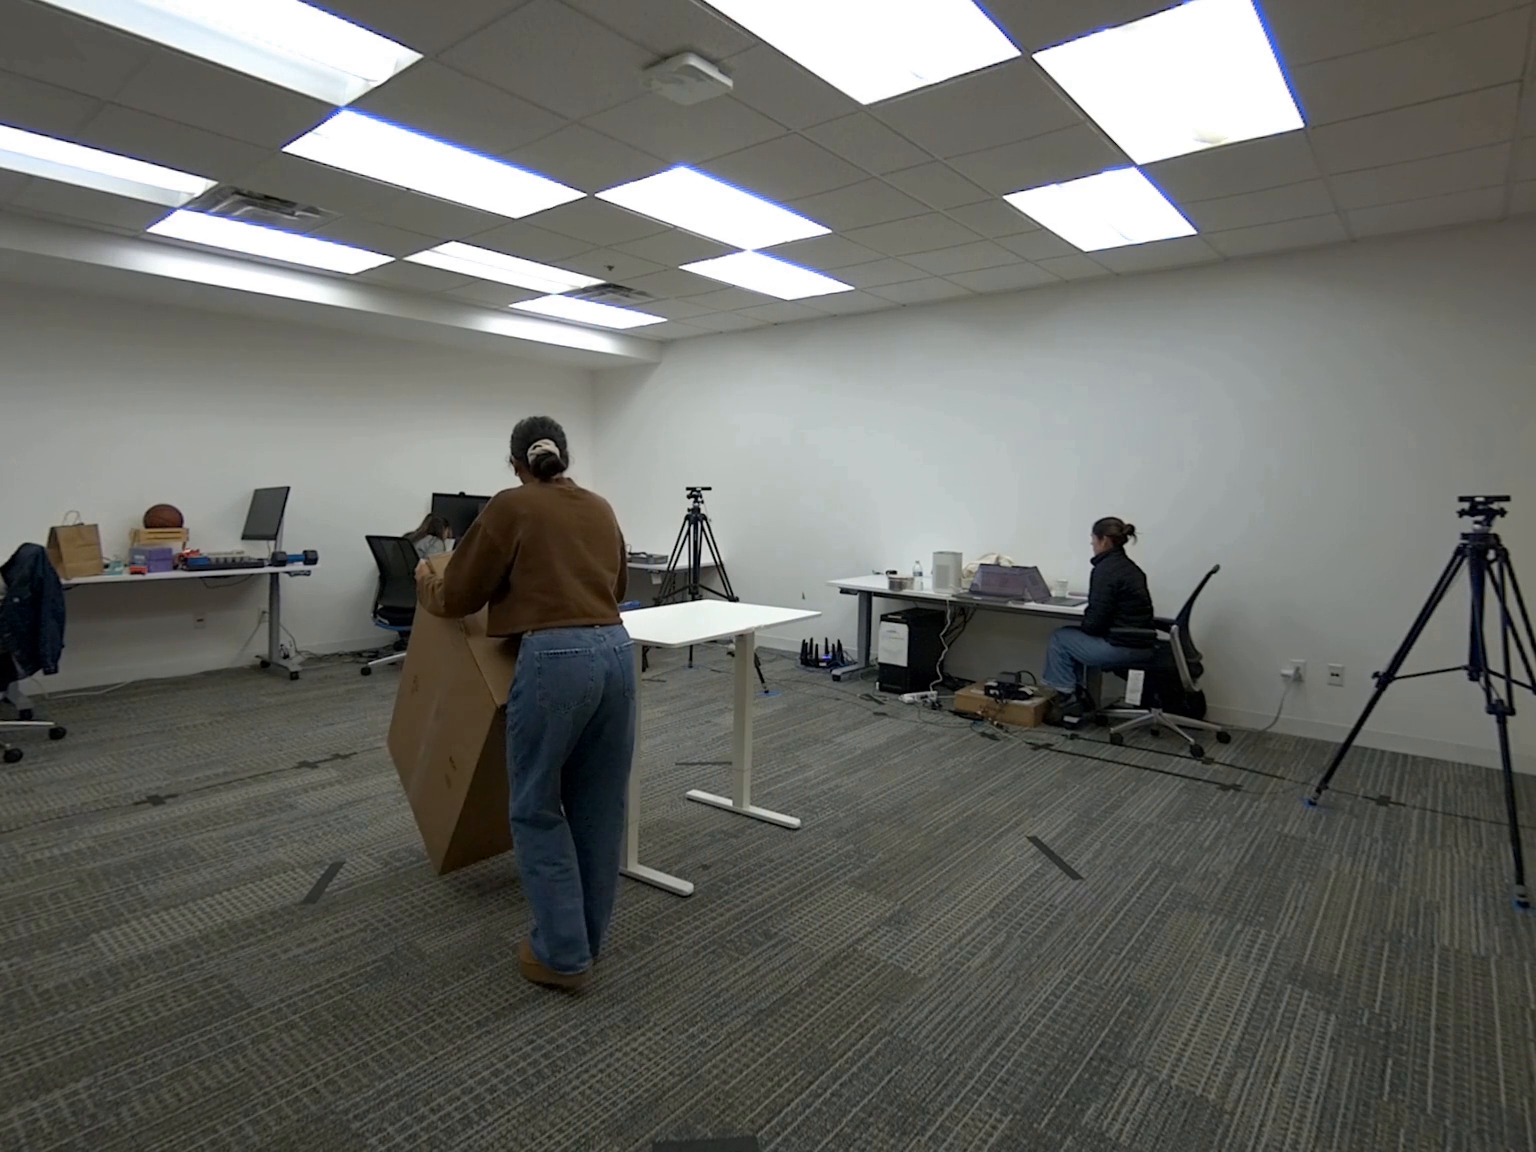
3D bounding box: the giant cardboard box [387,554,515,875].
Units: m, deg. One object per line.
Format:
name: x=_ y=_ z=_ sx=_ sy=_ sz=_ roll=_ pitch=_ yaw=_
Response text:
giant cardboard box: x=-0.947 y=0.461 z=2.881 sx=0.415 sy=1.015 sz=0.598 roll=-10 pitch=53 yaw=-40
